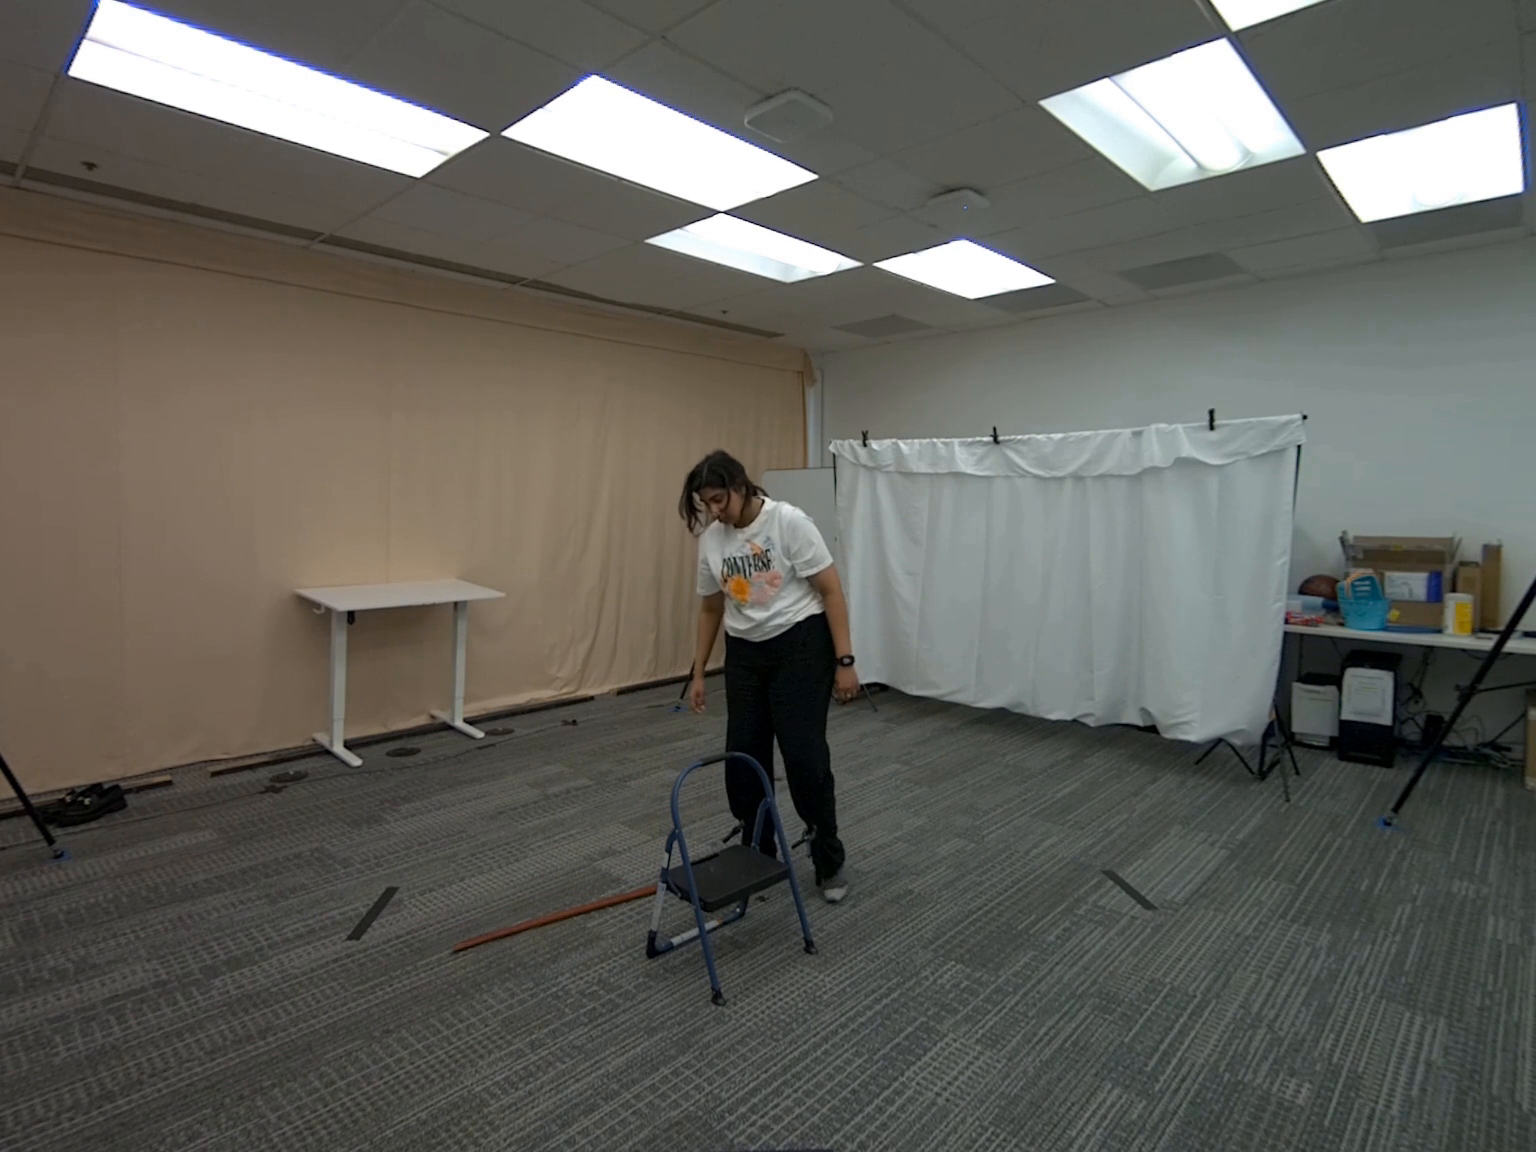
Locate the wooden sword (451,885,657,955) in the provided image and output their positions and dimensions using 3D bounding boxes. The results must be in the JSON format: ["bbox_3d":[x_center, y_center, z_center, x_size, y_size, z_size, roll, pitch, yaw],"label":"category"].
[{"bbox_3d":[-0.570,1.138,2.914,0.997,0.024,0.052,-5,-18,-32],"label":"wooden sword"}]
